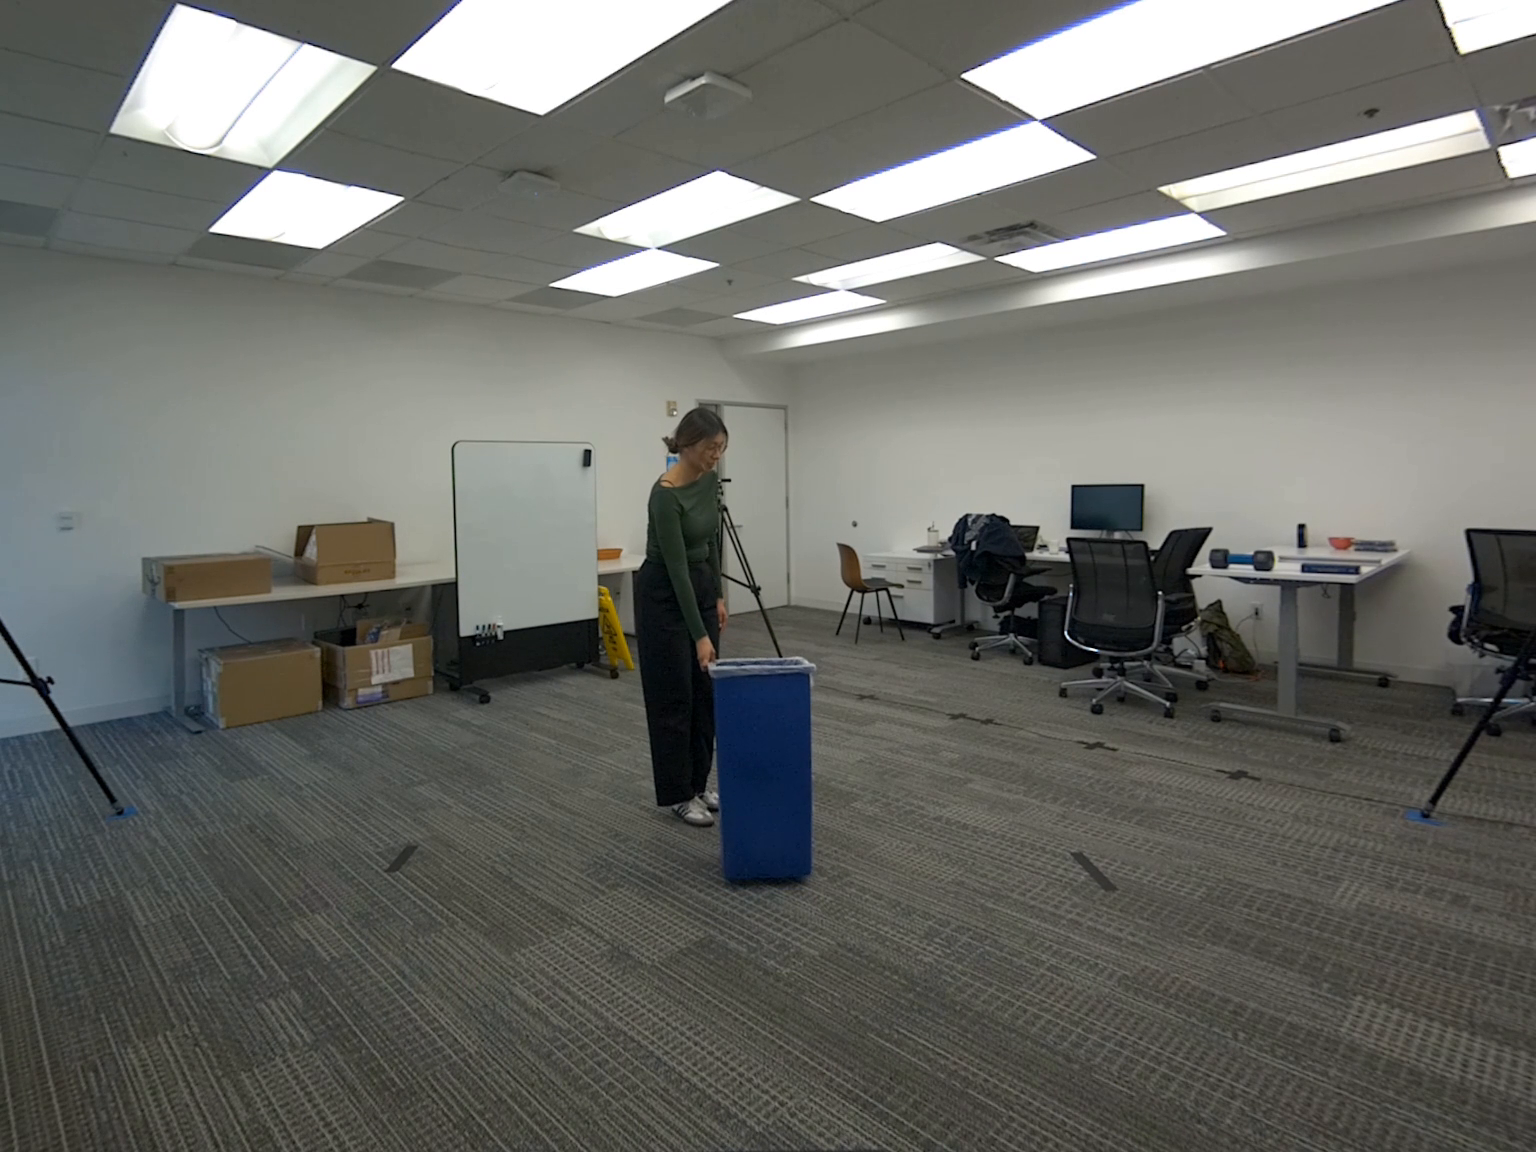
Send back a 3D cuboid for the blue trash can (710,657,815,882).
[{"bbox_3d":[-0.014,0.676,3.083,0.377,0.717,0.373,-2,-5,-2],"label":"blue trash can"}]
